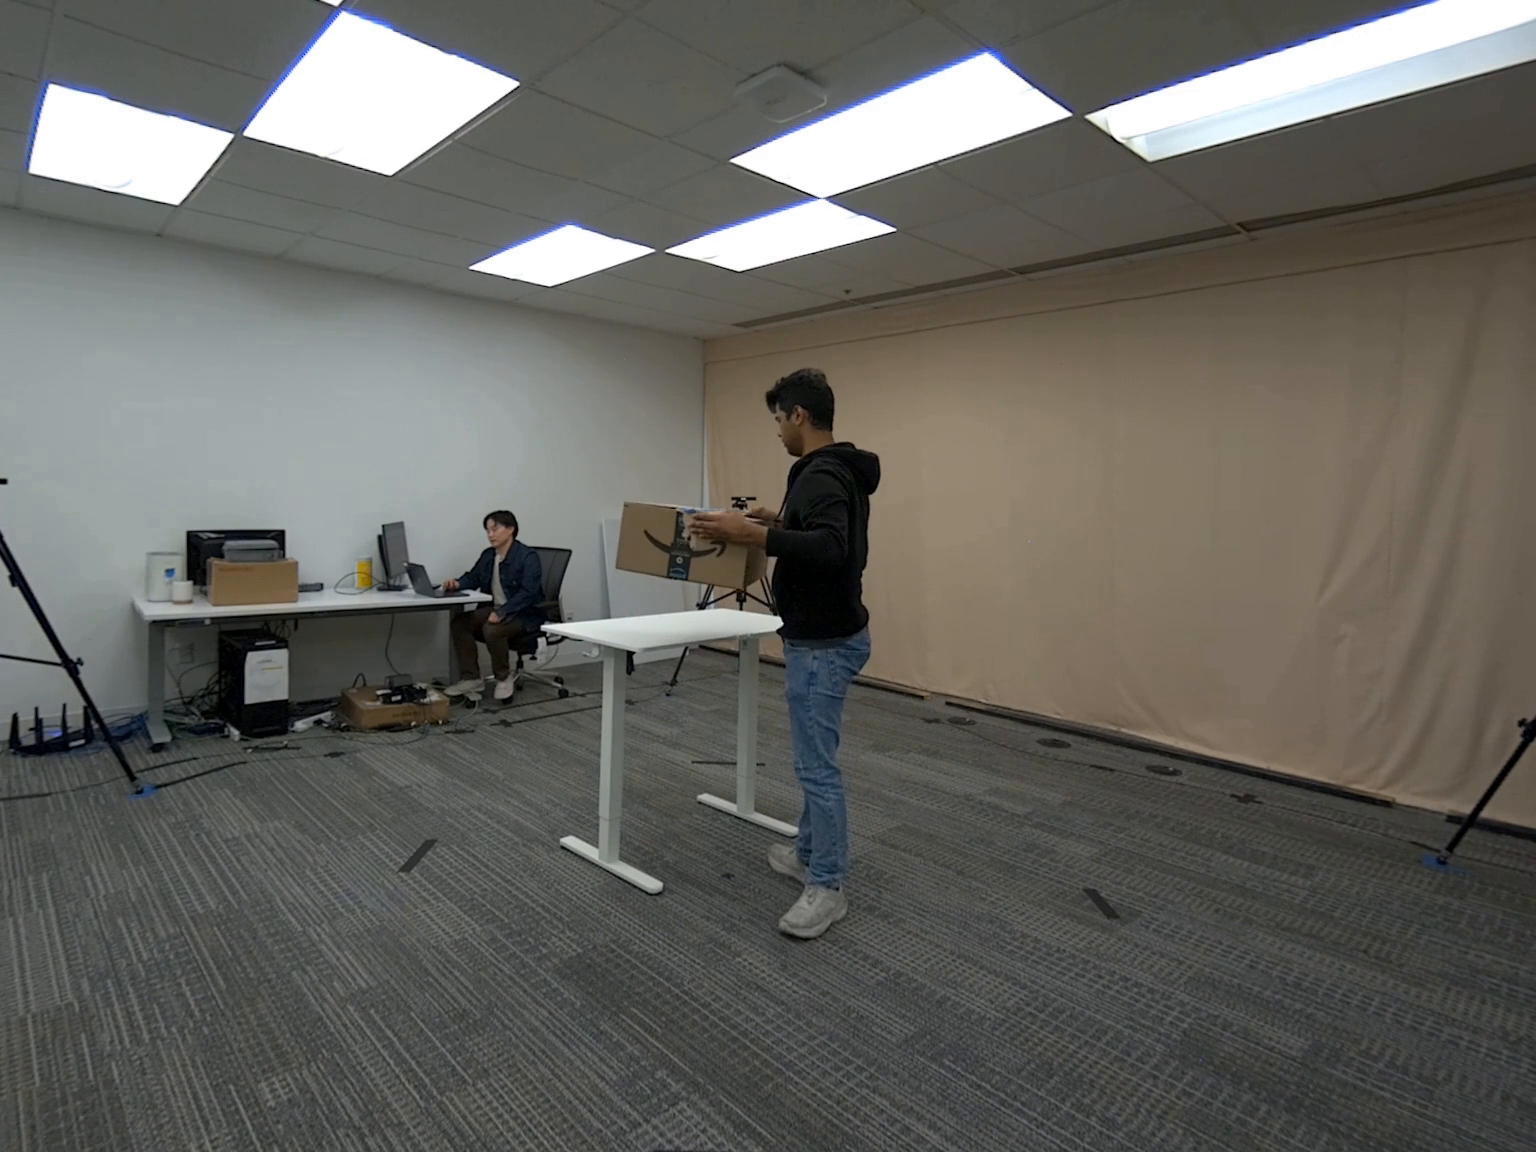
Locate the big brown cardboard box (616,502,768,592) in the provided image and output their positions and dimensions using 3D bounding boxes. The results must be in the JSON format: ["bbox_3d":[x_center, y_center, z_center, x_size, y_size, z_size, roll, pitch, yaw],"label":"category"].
[{"bbox_3d":[-0.220,-0.113,2.879,0.421,0.232,0.586,9,6,7],"label":"big brown cardboard box"}]
